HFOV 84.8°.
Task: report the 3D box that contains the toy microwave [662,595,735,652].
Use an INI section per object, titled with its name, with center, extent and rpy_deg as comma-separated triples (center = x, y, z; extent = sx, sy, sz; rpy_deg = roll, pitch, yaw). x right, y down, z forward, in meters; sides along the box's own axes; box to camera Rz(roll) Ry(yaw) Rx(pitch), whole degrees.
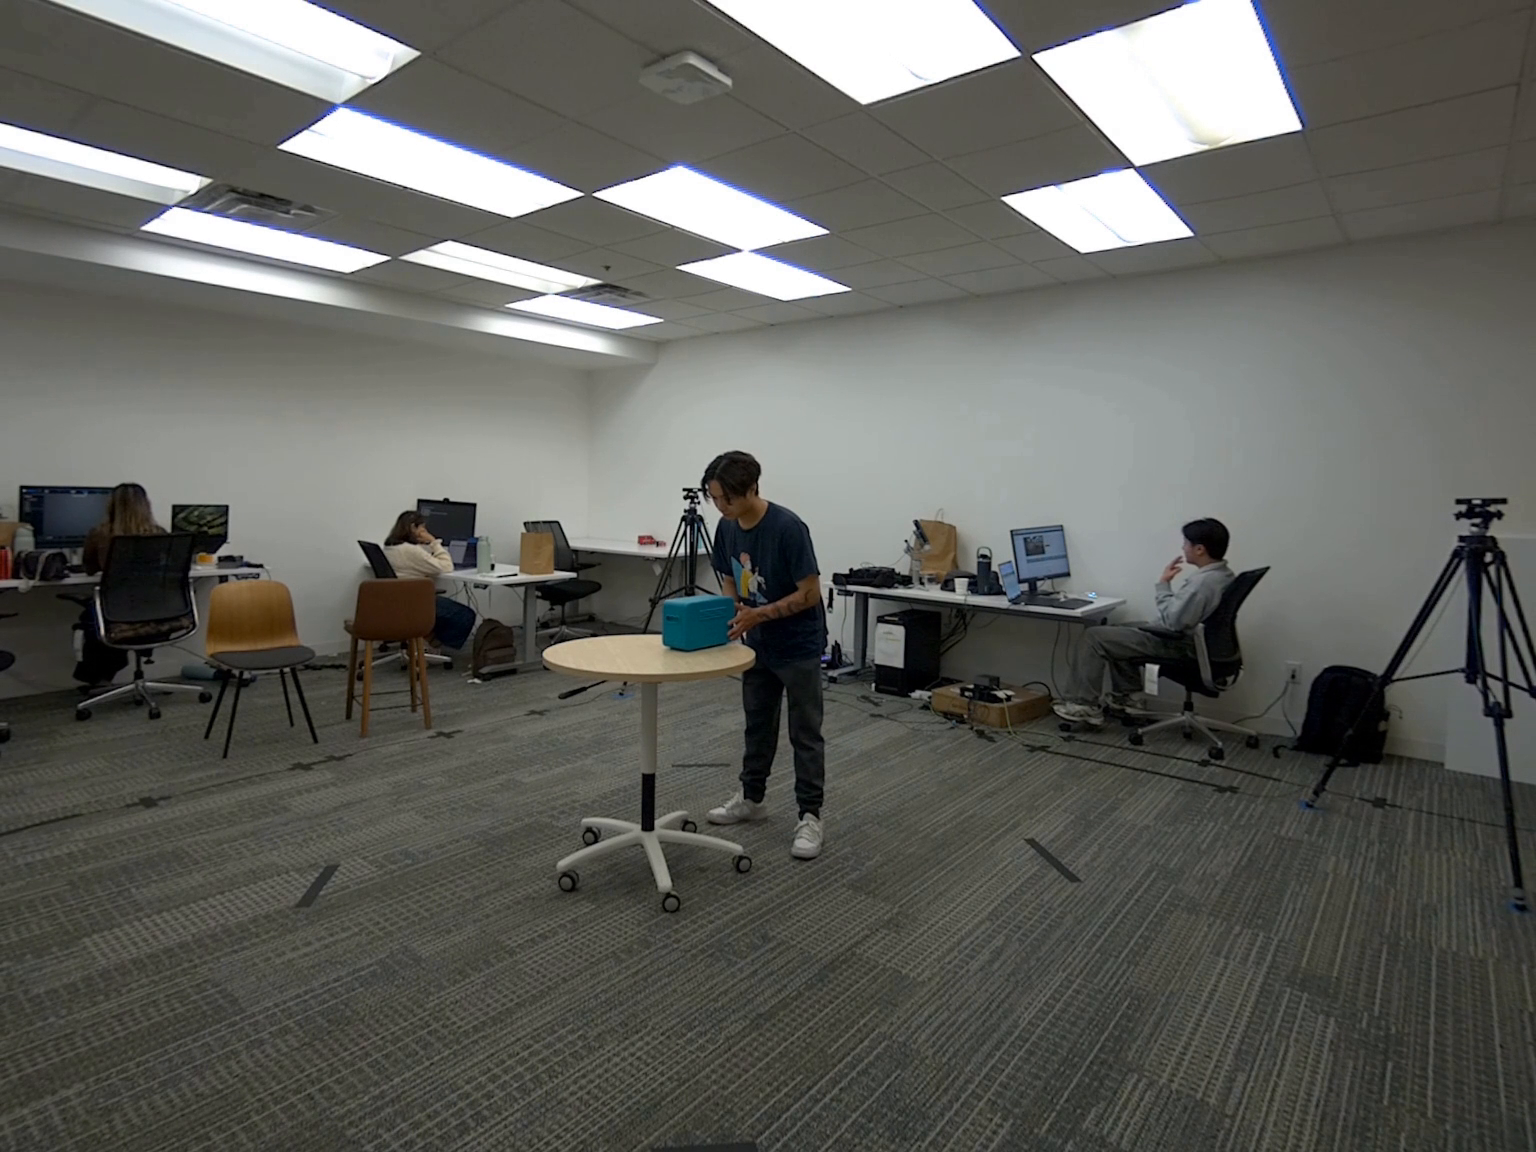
[toy microwave]
center = -0.282, 0.172, 3.219
extent = 0.157, 0.183, 0.278
rpy_deg = 4, 5, 37
